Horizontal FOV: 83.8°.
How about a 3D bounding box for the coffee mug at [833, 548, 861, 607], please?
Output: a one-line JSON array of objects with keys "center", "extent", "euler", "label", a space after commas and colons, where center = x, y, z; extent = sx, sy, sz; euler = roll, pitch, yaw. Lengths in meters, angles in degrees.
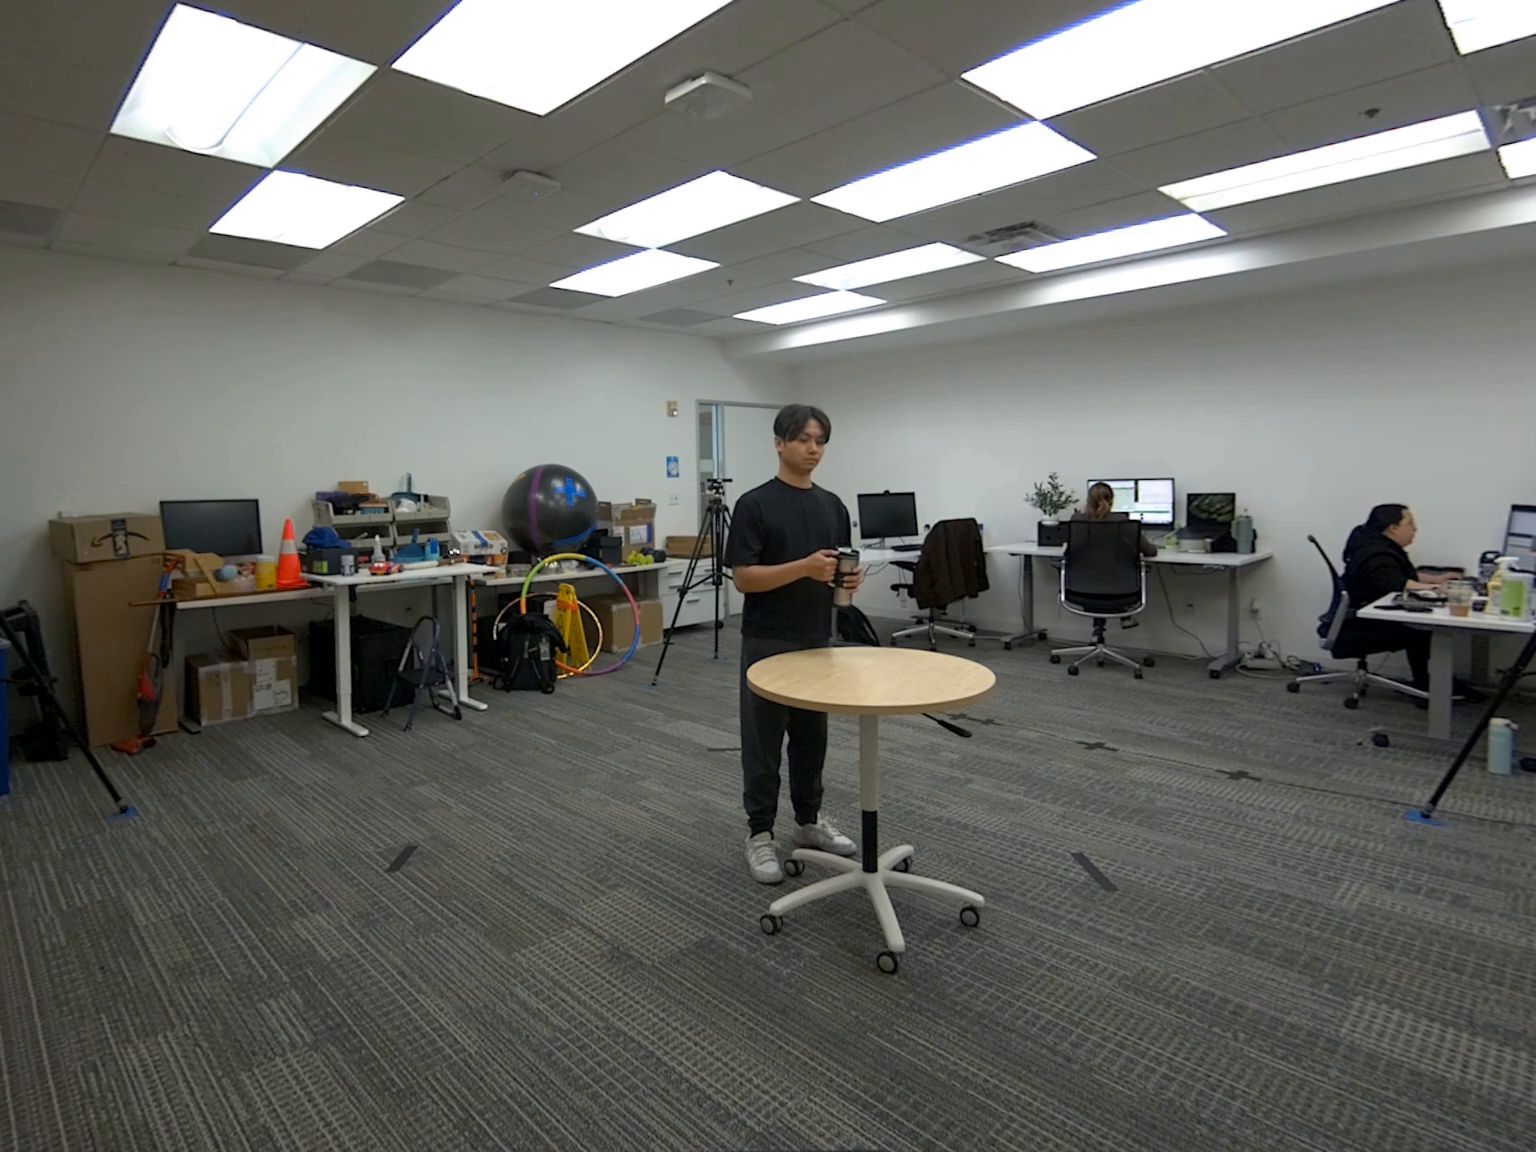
[{"center": [0.235, 0.011, 2.949], "extent": [0.126, 0.200, 0.086], "euler": [11, 19, 34], "label": "coffee mug"}]
